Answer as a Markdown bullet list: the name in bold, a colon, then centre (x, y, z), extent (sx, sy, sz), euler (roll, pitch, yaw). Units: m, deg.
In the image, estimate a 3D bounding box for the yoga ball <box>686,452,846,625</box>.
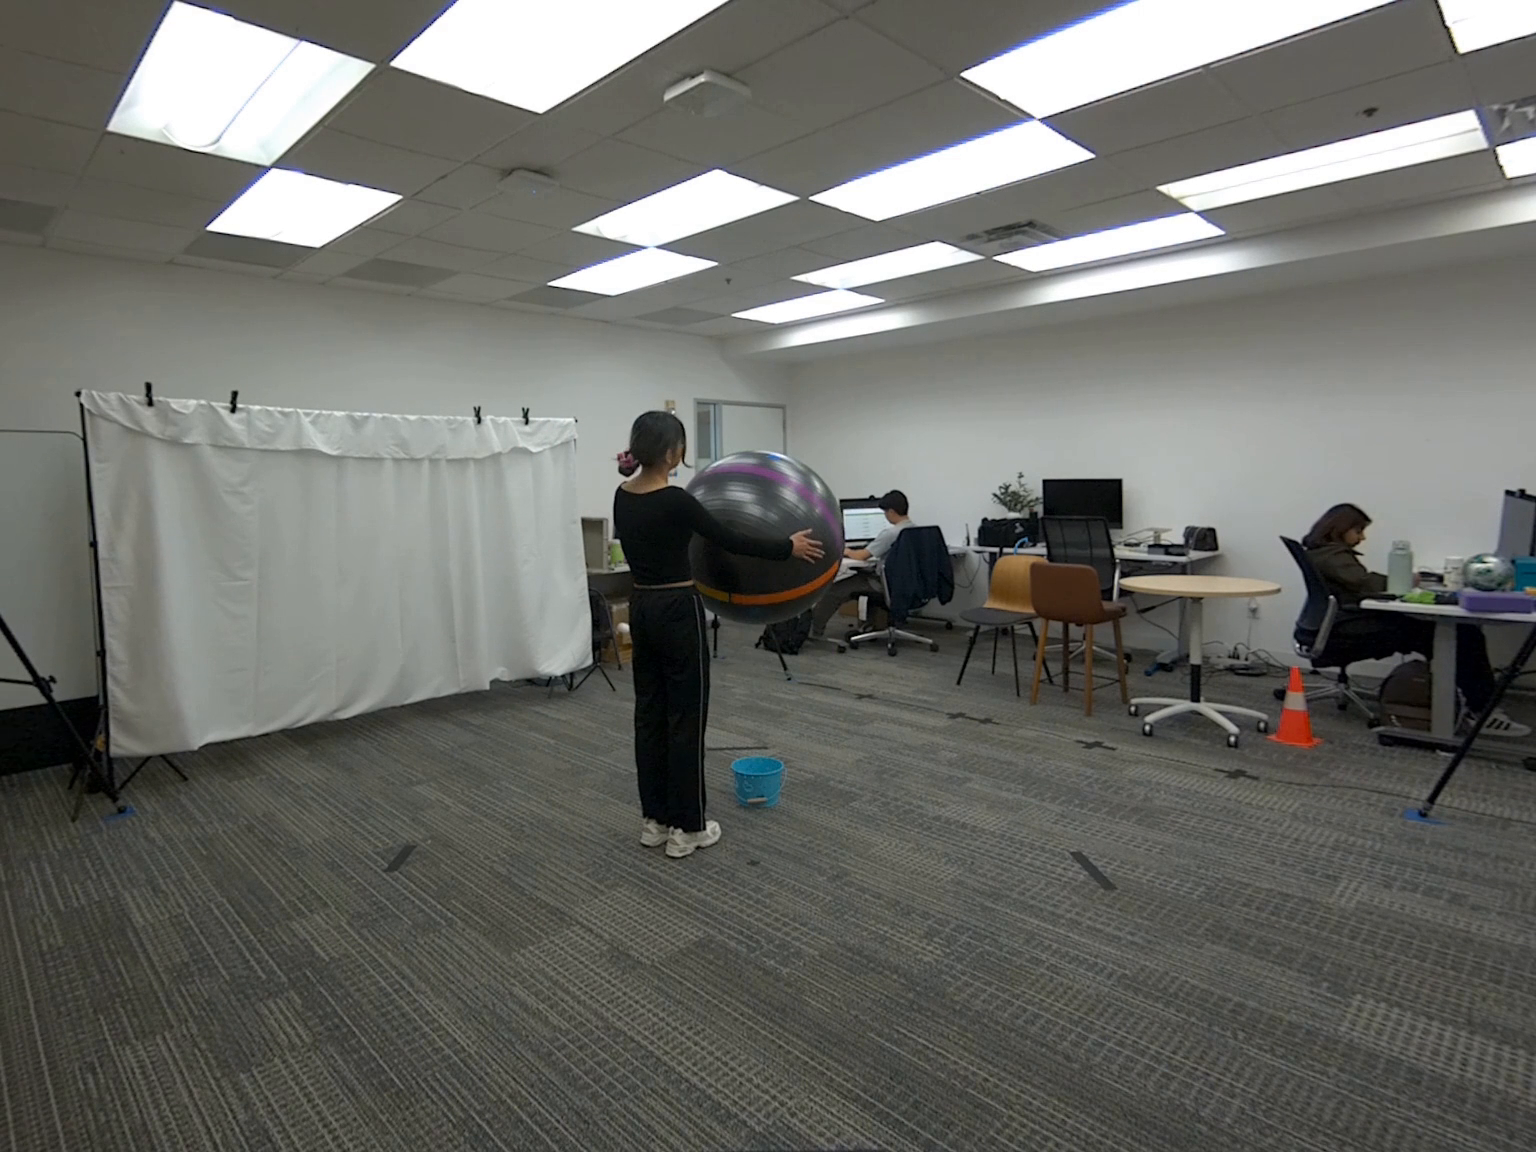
- **yoga ball**: centre (-0.046, -0.153, 3.725), extent (0.757, 0.755, 0.762), euler (-1, 5, -2)
